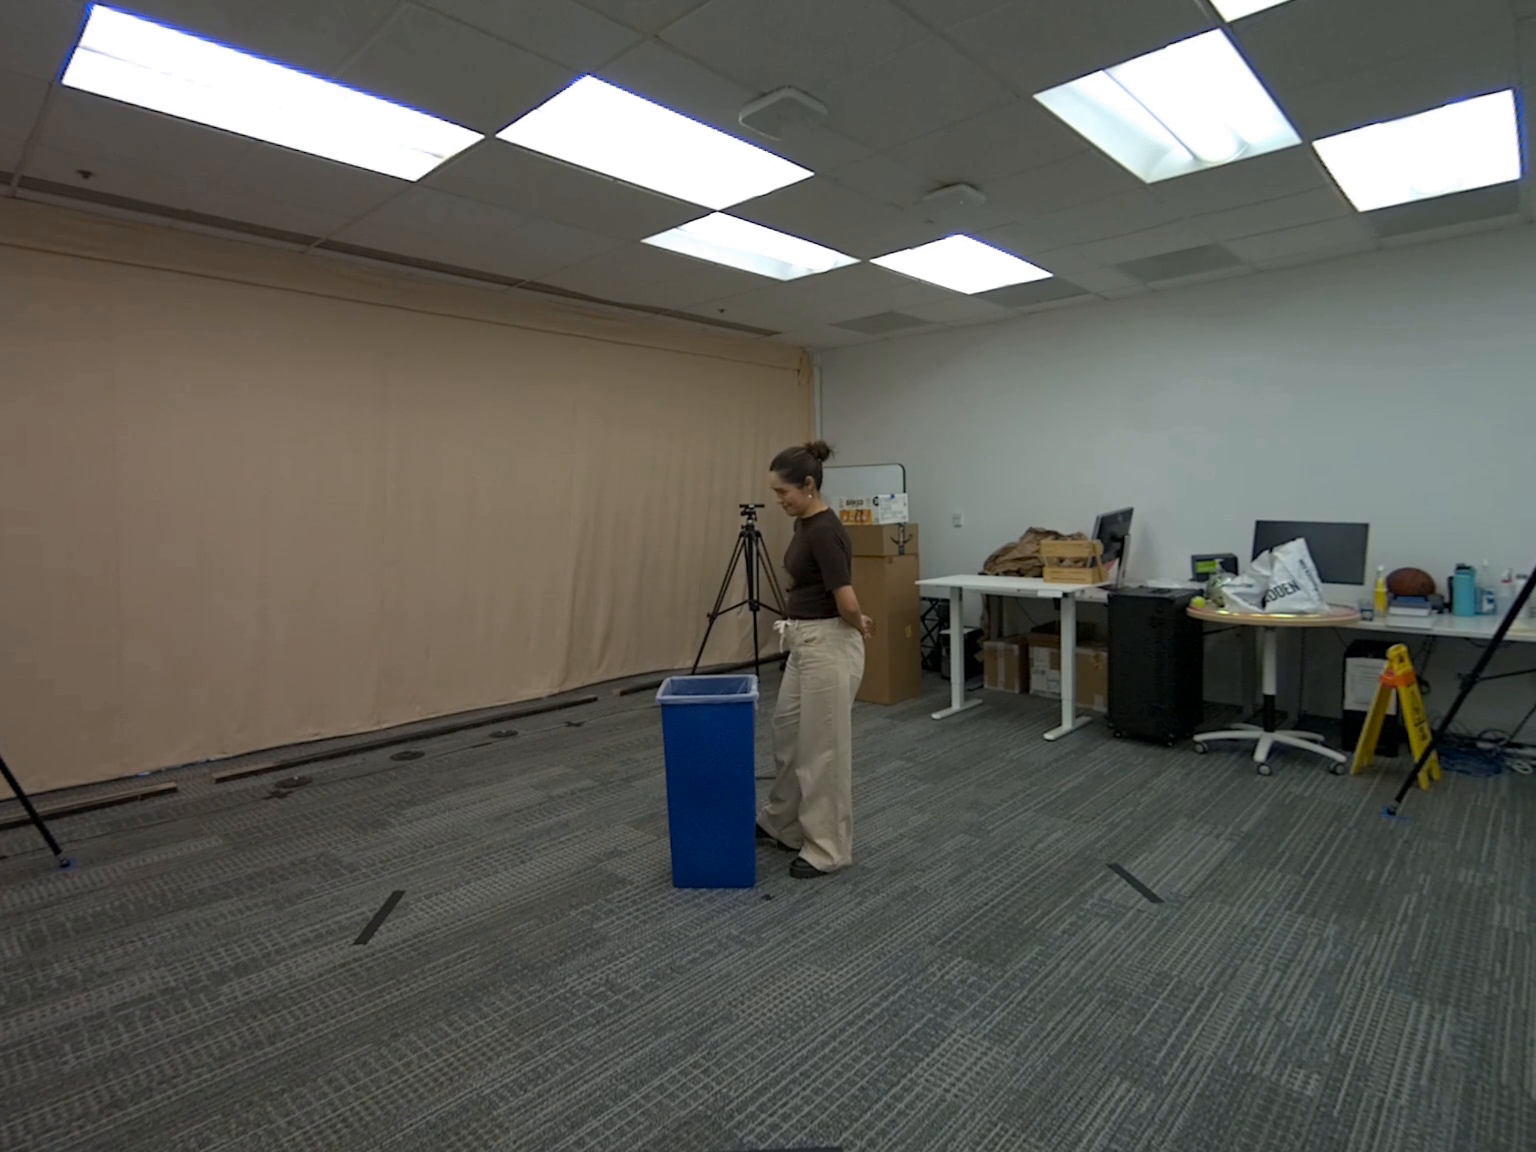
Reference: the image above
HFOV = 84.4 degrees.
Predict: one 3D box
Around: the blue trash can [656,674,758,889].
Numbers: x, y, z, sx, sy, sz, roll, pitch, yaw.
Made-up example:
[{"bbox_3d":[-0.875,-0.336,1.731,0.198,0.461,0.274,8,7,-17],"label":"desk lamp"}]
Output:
[{"bbox_3d":[-0.213,0.771,3.203,0.379,0.712,0.374,-1,4,1],"label":"blue trash can"}]
